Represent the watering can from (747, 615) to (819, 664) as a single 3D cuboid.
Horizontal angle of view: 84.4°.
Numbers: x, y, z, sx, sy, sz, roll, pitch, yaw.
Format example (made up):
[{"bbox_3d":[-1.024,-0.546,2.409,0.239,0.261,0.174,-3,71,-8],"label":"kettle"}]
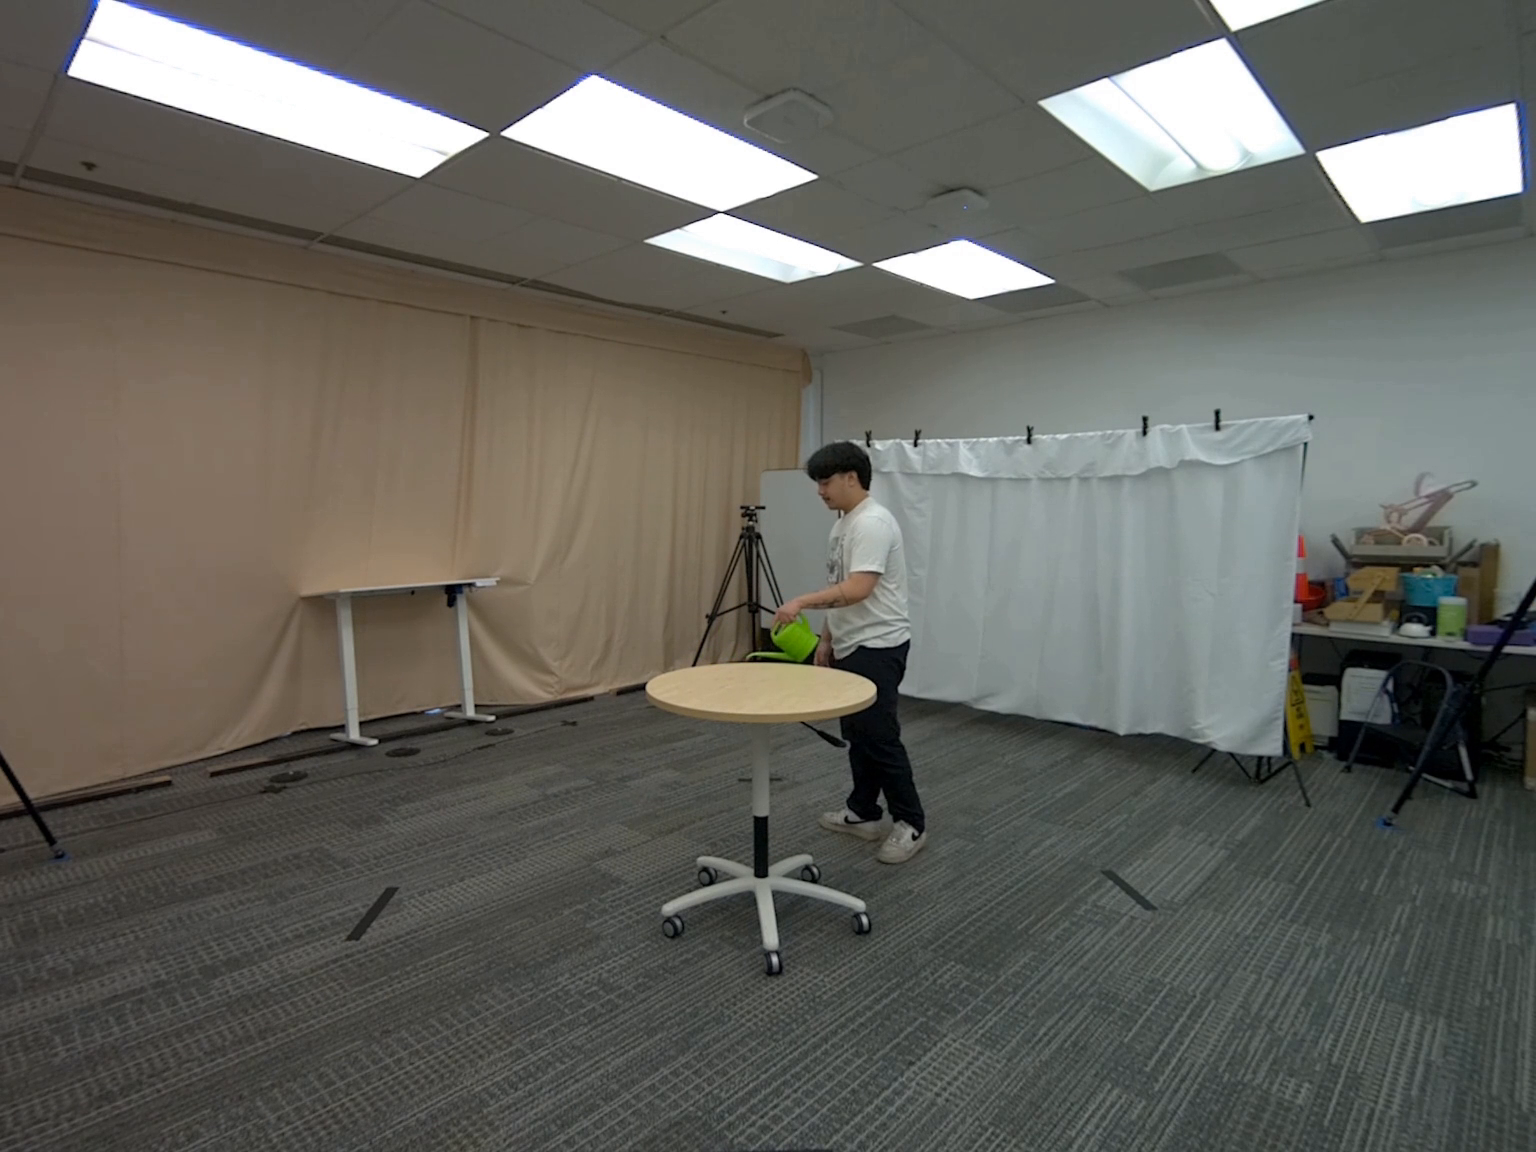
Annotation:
[{"bbox_3d":[0.074,0.278,3.358,0.176,0.279,0.098,42,17,-3],"label":"watering can"}]
